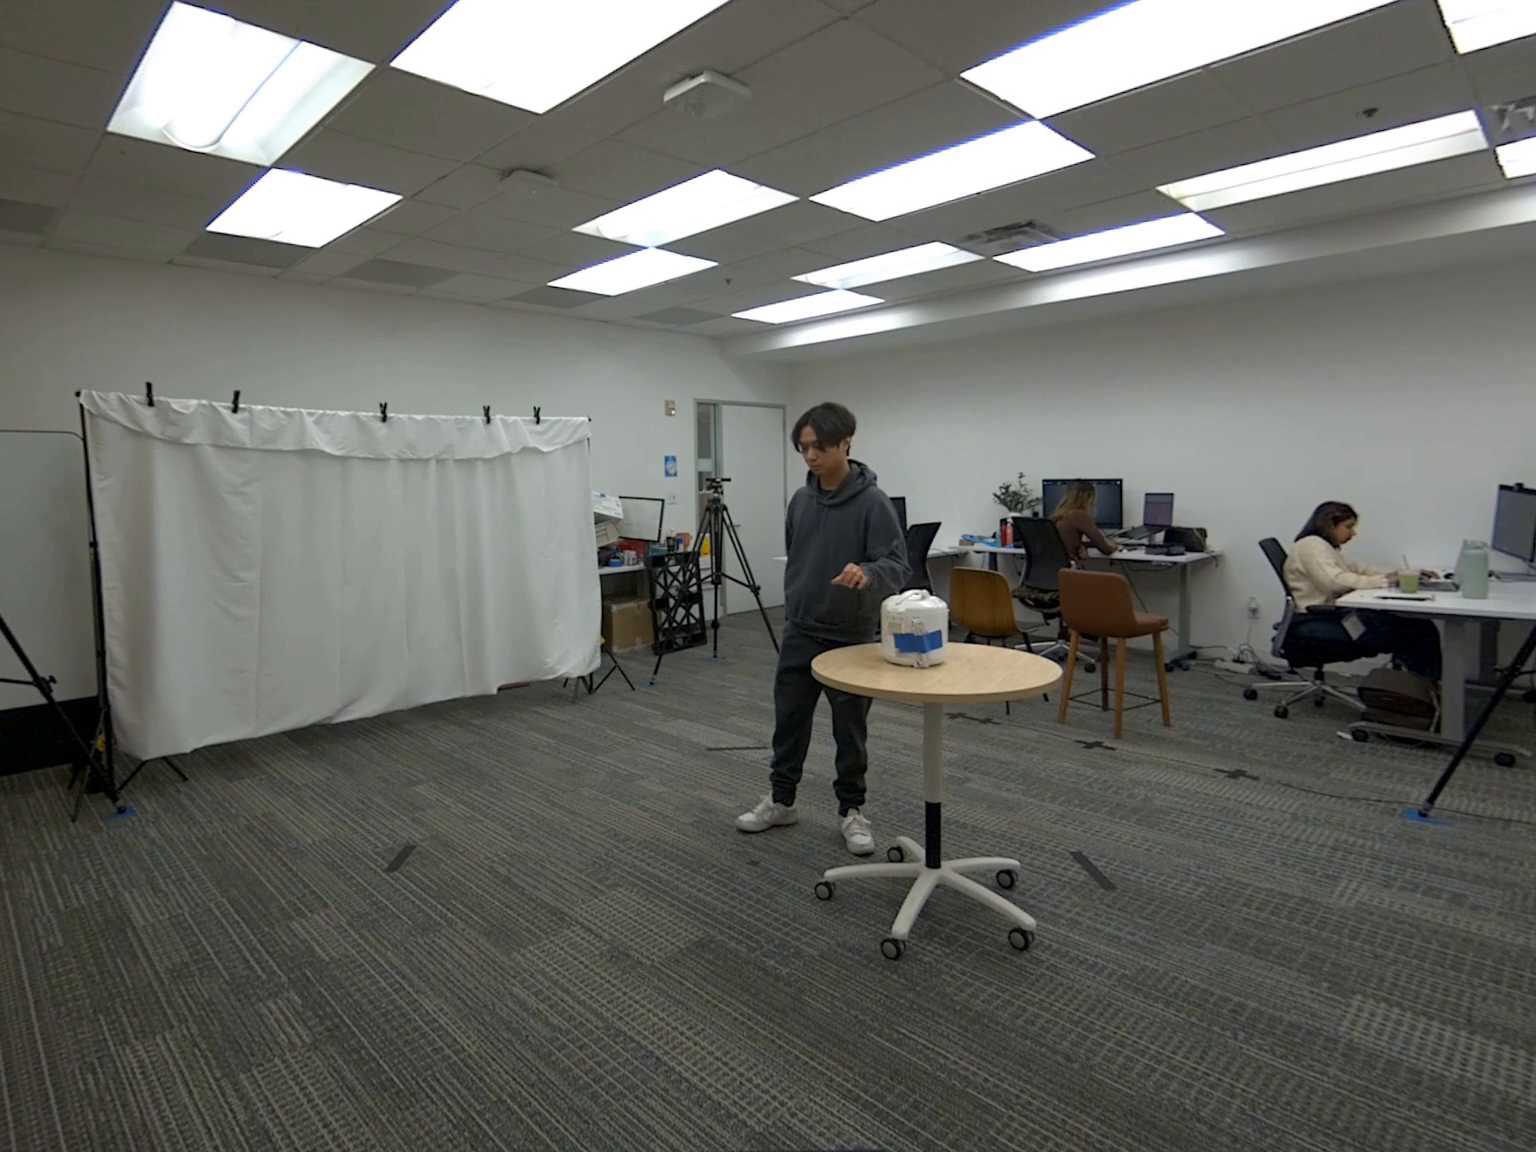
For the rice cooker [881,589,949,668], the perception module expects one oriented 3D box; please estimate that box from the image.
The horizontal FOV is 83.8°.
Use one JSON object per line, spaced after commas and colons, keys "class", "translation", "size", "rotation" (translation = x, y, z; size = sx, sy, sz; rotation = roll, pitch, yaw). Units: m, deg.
{"class": "rice cooker", "translation": [0.458, 0.162, 2.741], "size": [0.215, 0.232, 0.224], "rotation": [-6, 7, -44]}
